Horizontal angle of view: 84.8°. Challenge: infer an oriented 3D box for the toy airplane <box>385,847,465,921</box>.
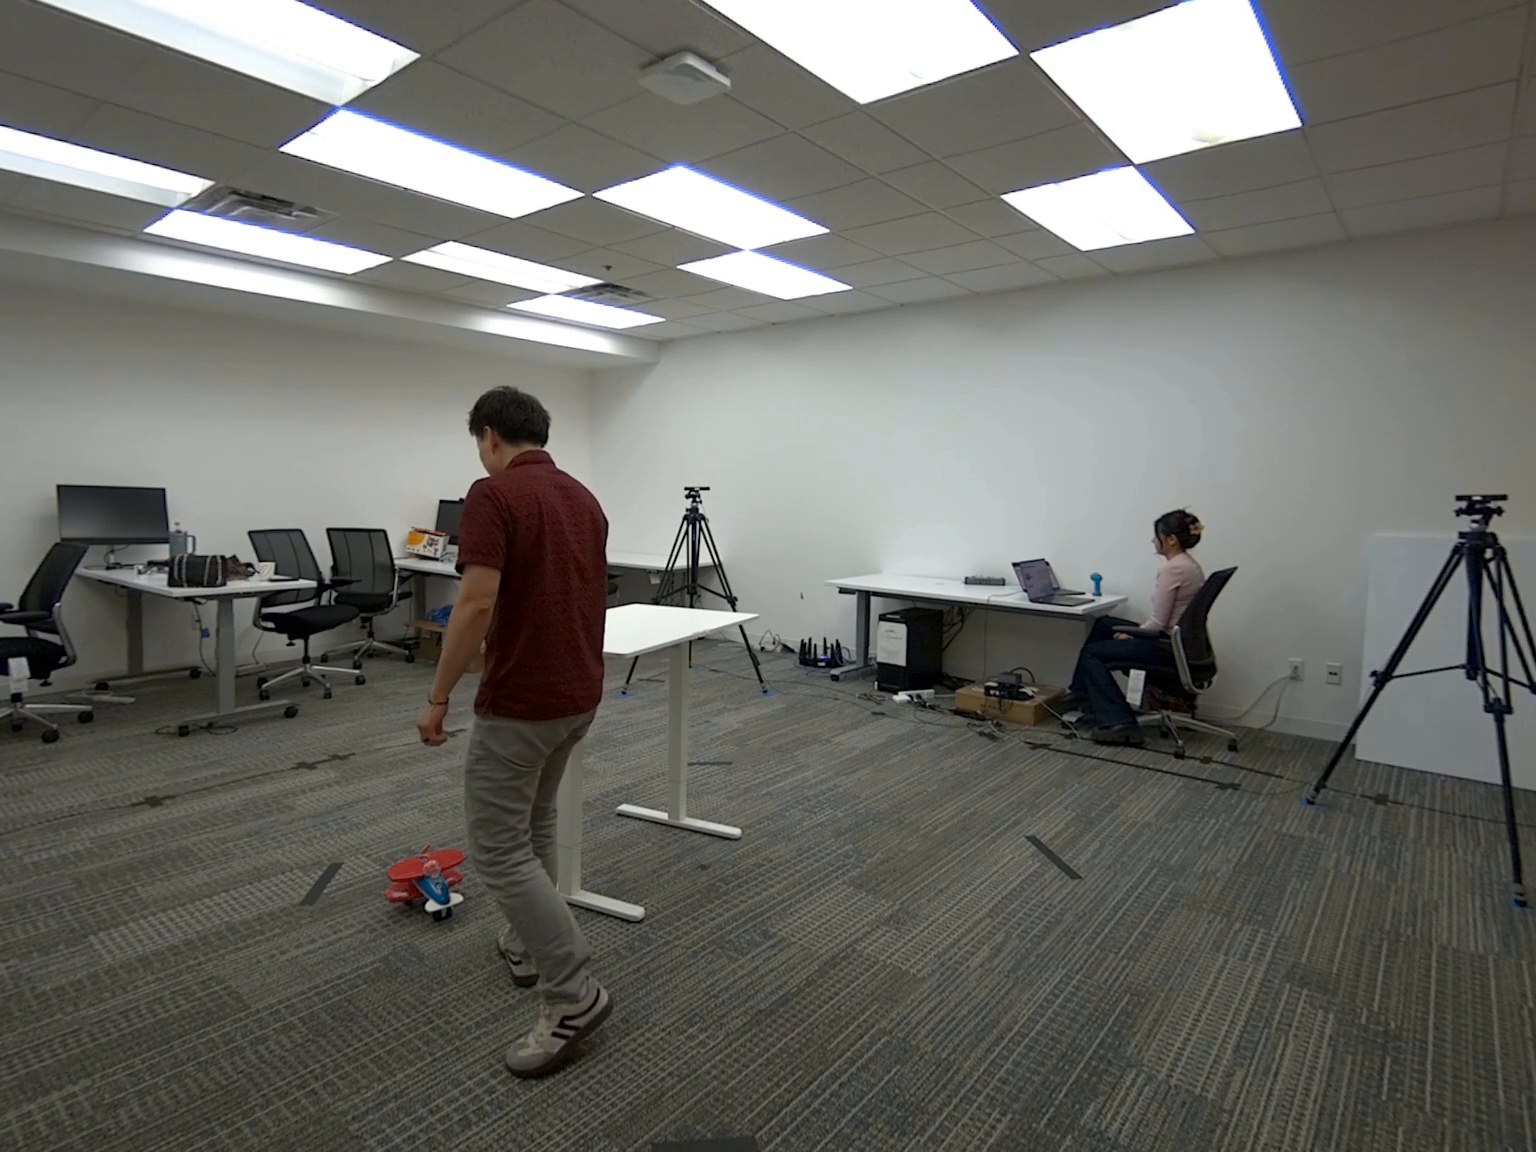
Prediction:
[{"bbox_3d":[-1.113,1.015,2.798,0.264,0.156,0.247,1,5,17],"label":"toy airplane"}]
